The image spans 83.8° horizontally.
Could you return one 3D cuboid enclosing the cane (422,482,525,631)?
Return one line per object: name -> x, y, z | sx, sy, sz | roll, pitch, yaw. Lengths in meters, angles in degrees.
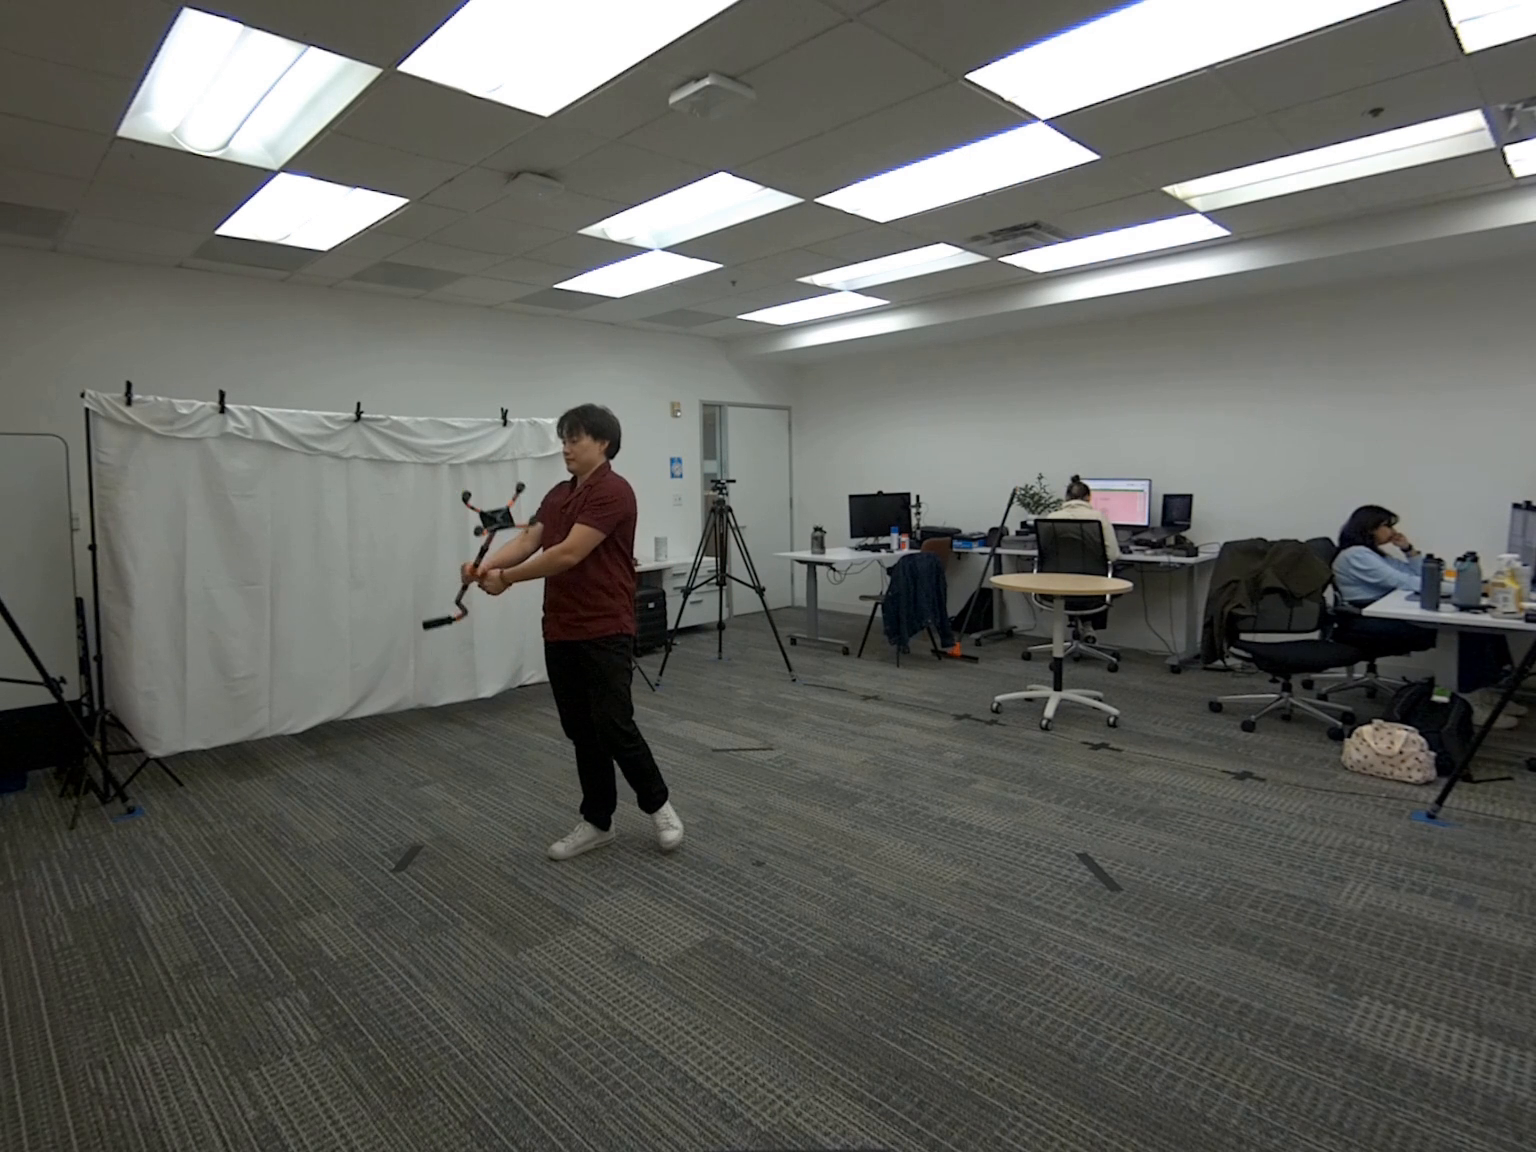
cane -> -1.040, -0.018, 2.983 | 0.202, 0.155, 0.909 | -11, -19, -35
